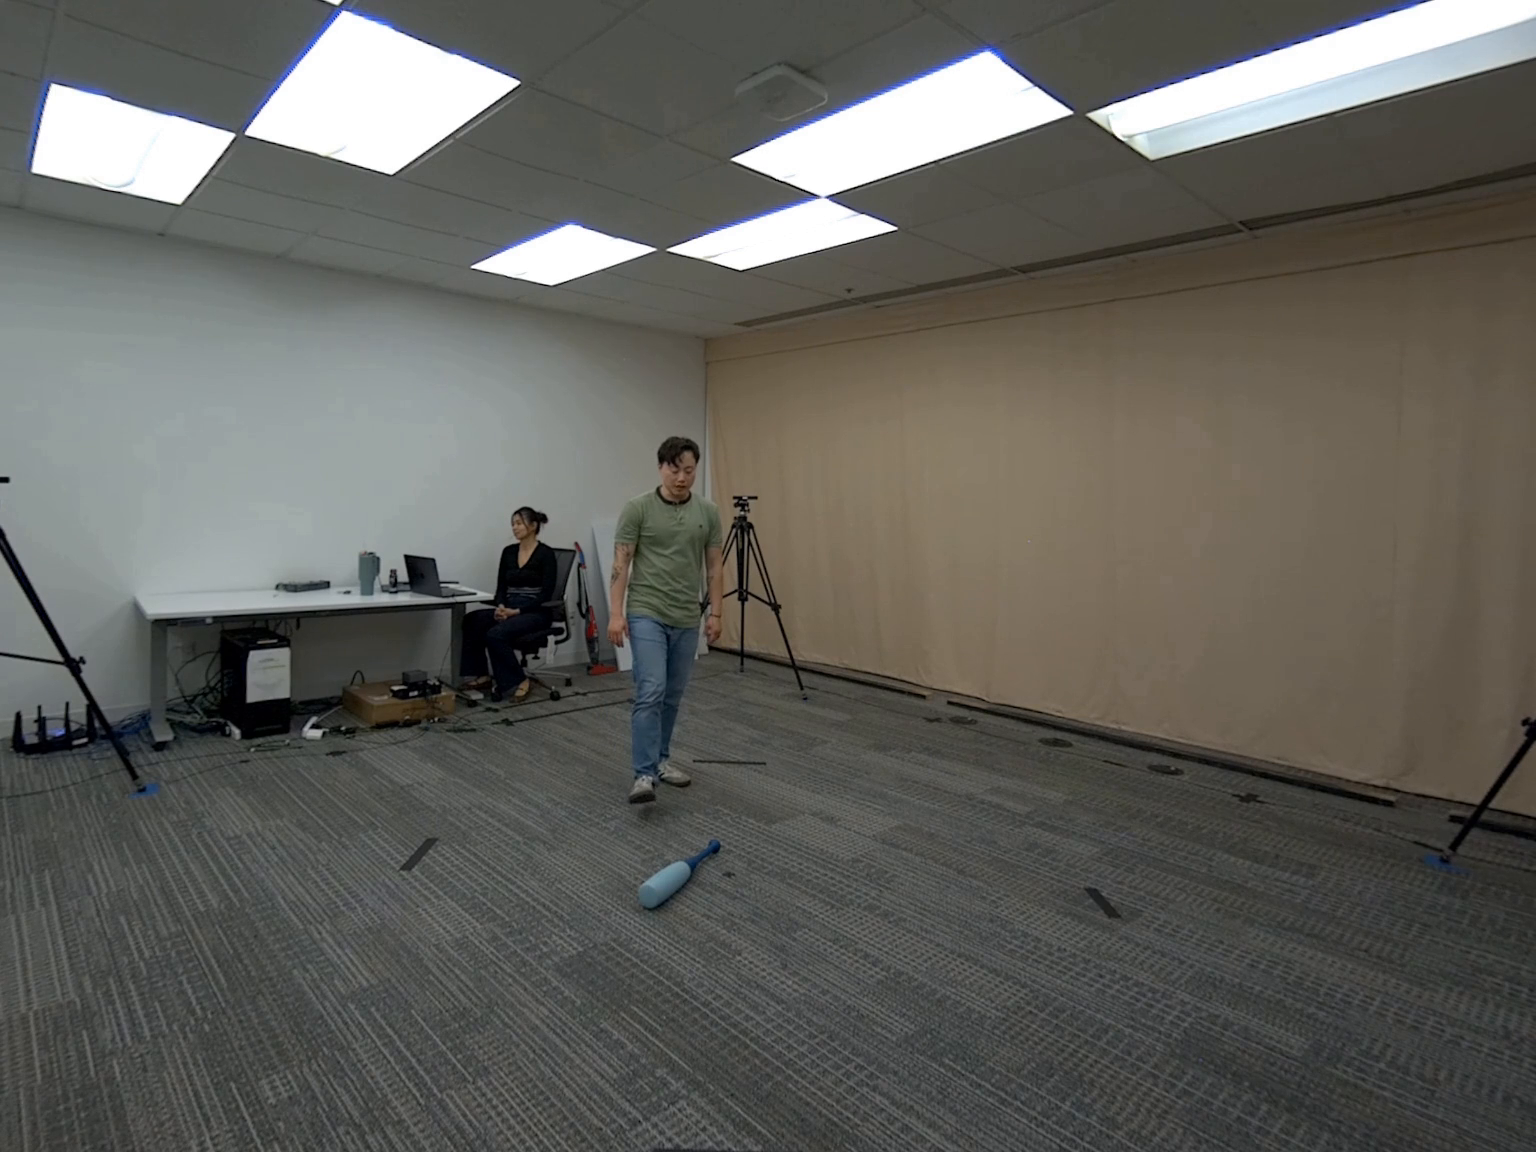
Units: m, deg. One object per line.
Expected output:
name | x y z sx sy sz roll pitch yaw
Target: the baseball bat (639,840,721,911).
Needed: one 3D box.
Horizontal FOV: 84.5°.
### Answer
baseball bat | -0.311 1.067 3.056 0.090 0.089 0.534 3 2 20
